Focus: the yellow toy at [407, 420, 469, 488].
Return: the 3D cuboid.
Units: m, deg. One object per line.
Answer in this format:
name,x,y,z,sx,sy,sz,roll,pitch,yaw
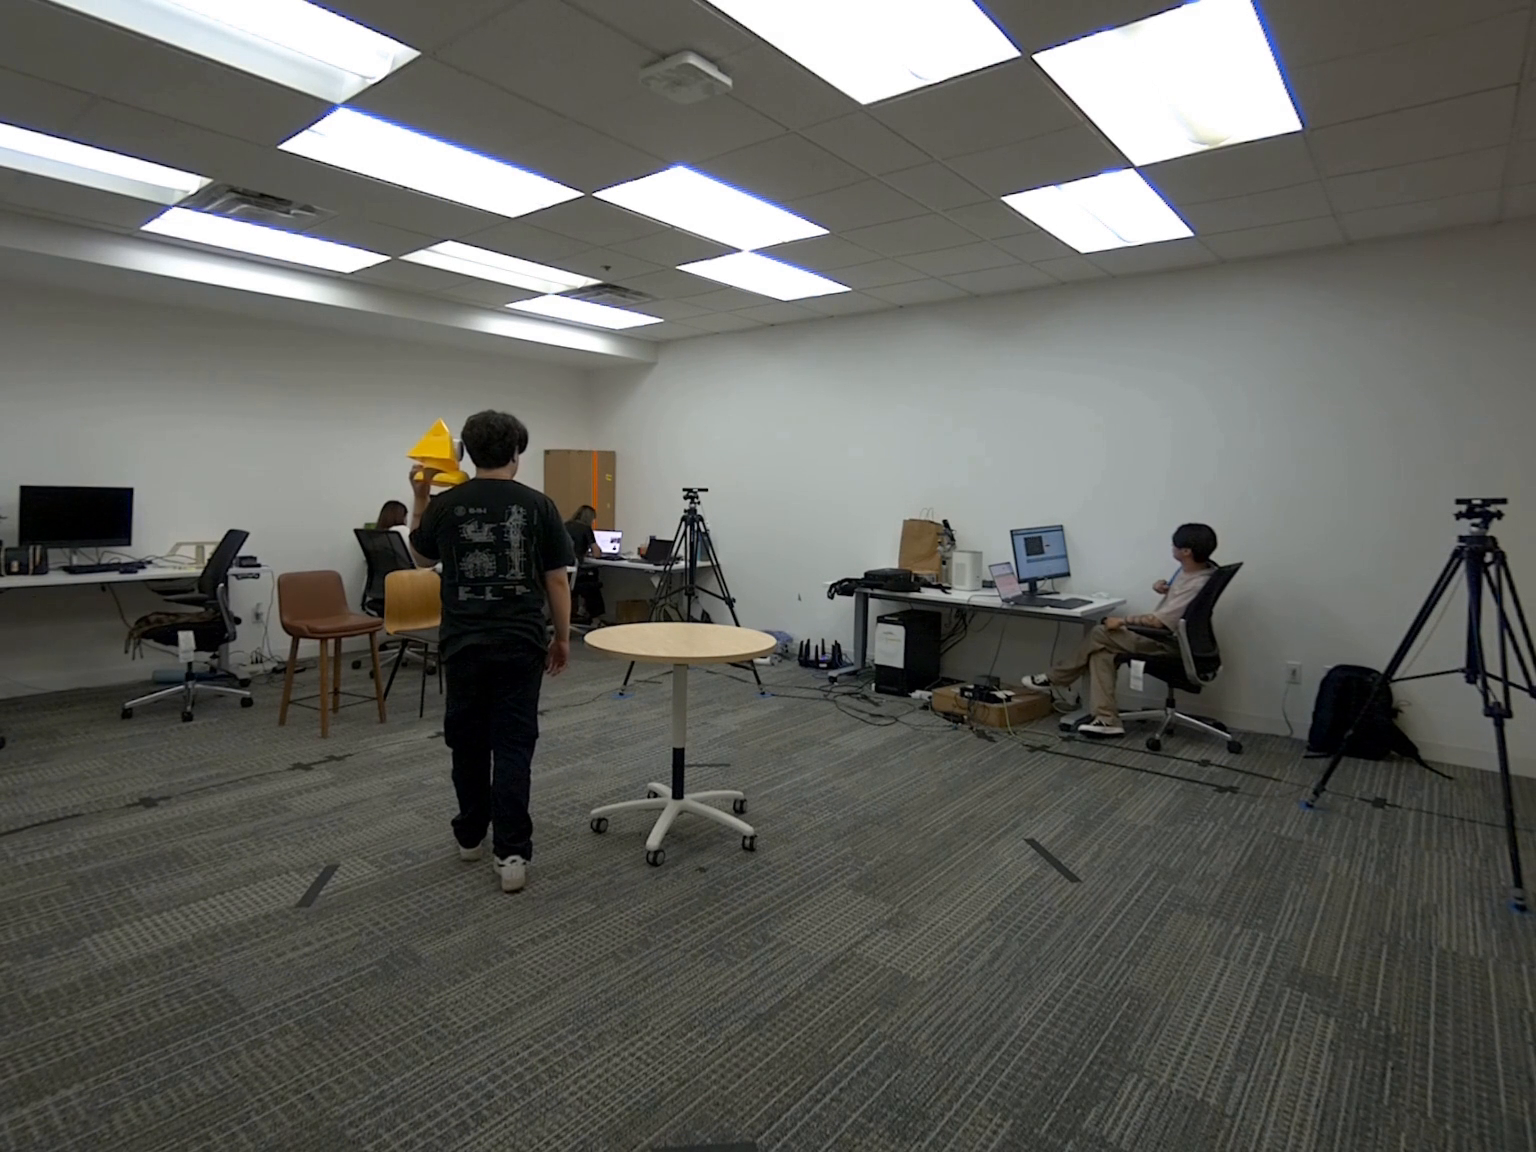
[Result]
yellow toy,-1.204,-0.455,3.130,0.210,0.231,0.188,6,-4,22
